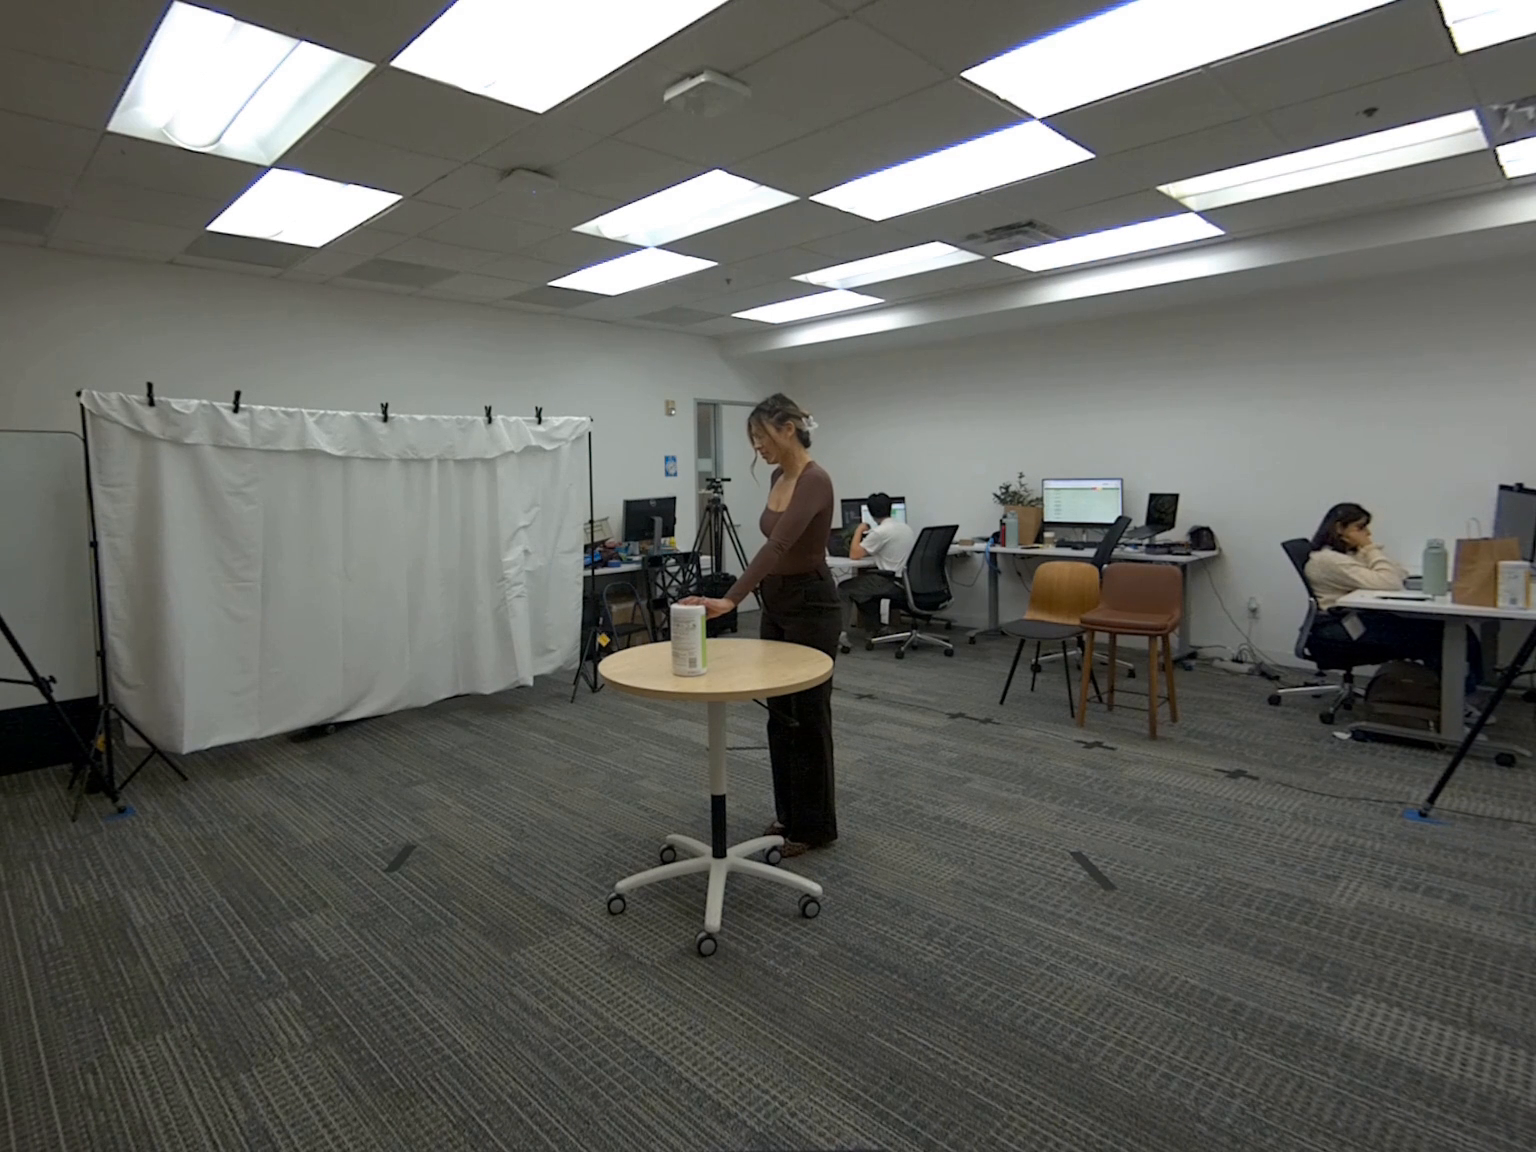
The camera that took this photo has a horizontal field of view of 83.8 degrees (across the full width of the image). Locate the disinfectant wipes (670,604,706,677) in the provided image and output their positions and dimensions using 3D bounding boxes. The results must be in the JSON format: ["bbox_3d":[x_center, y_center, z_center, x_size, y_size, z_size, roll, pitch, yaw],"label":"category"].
[{"bbox_3d":[-0.240,0.198,2.647,0.118,0.217,0.118,-1,3,-2],"label":"disinfectant wipes"}]
